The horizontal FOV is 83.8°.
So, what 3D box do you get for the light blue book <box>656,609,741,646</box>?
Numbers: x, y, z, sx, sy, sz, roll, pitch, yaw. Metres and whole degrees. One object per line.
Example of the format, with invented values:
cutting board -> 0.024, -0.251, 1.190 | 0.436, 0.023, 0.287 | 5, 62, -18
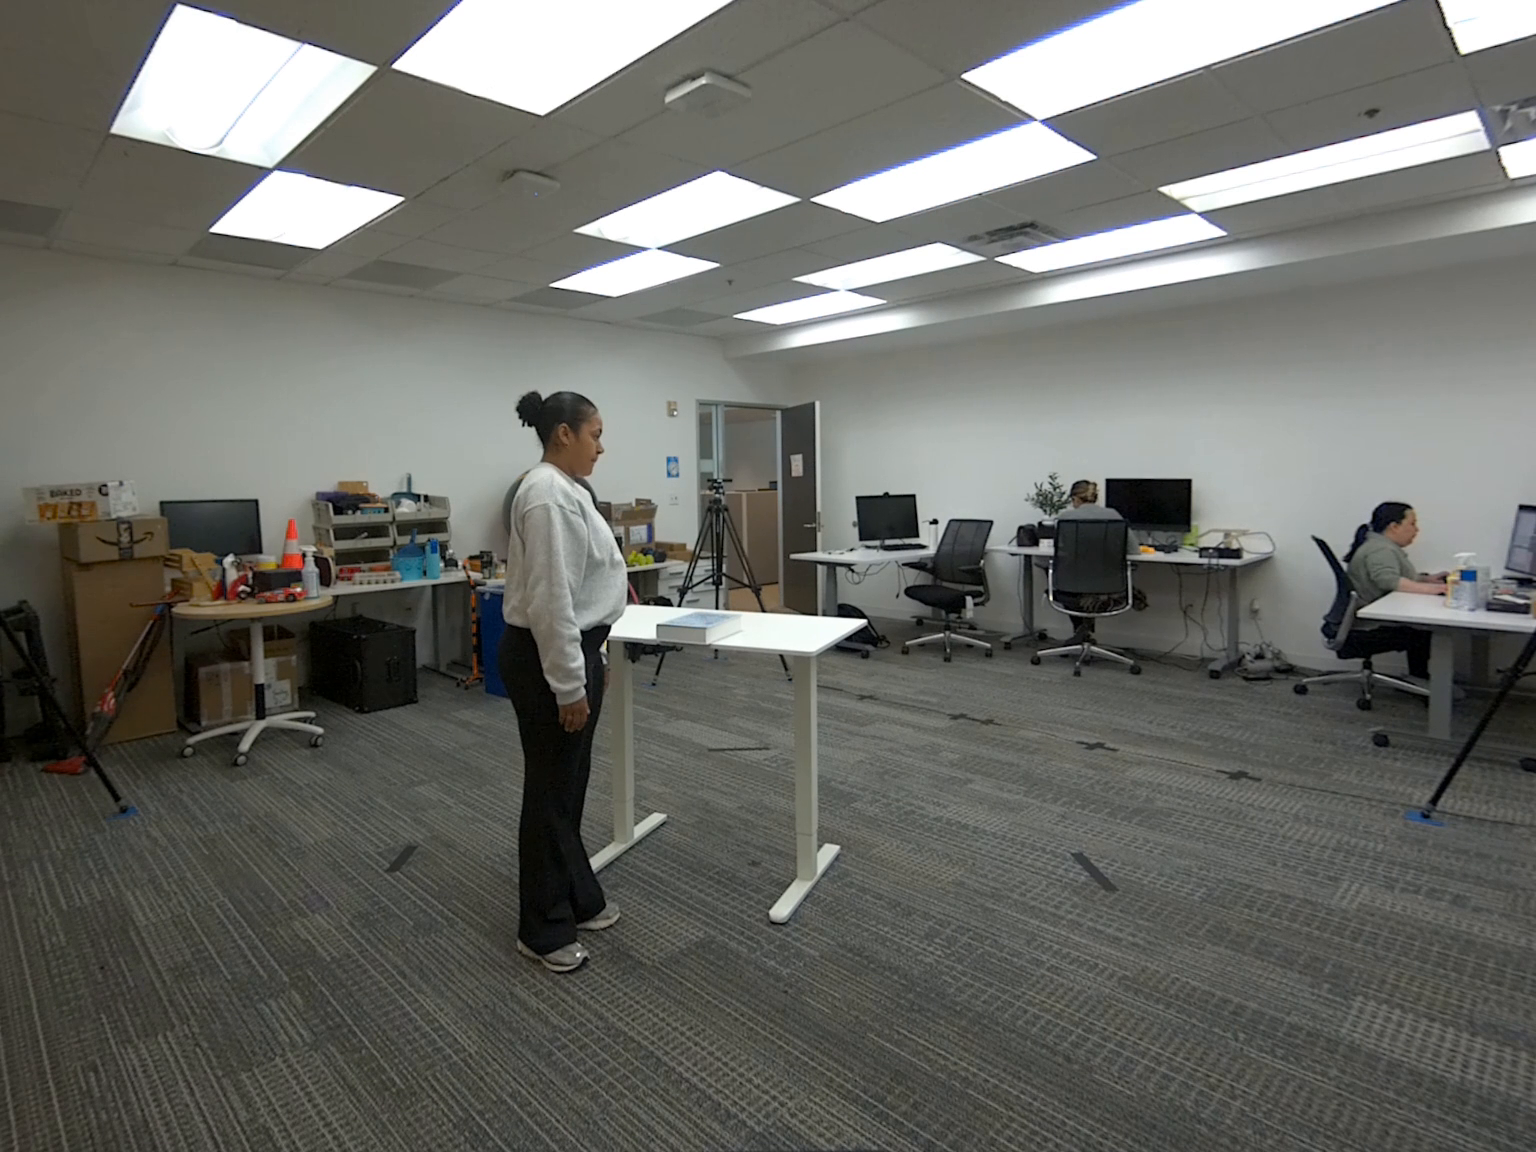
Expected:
light blue book -> -0.224, 0.169, 2.830 | 0.196, 0.059, 0.256 | 2, 7, 26
